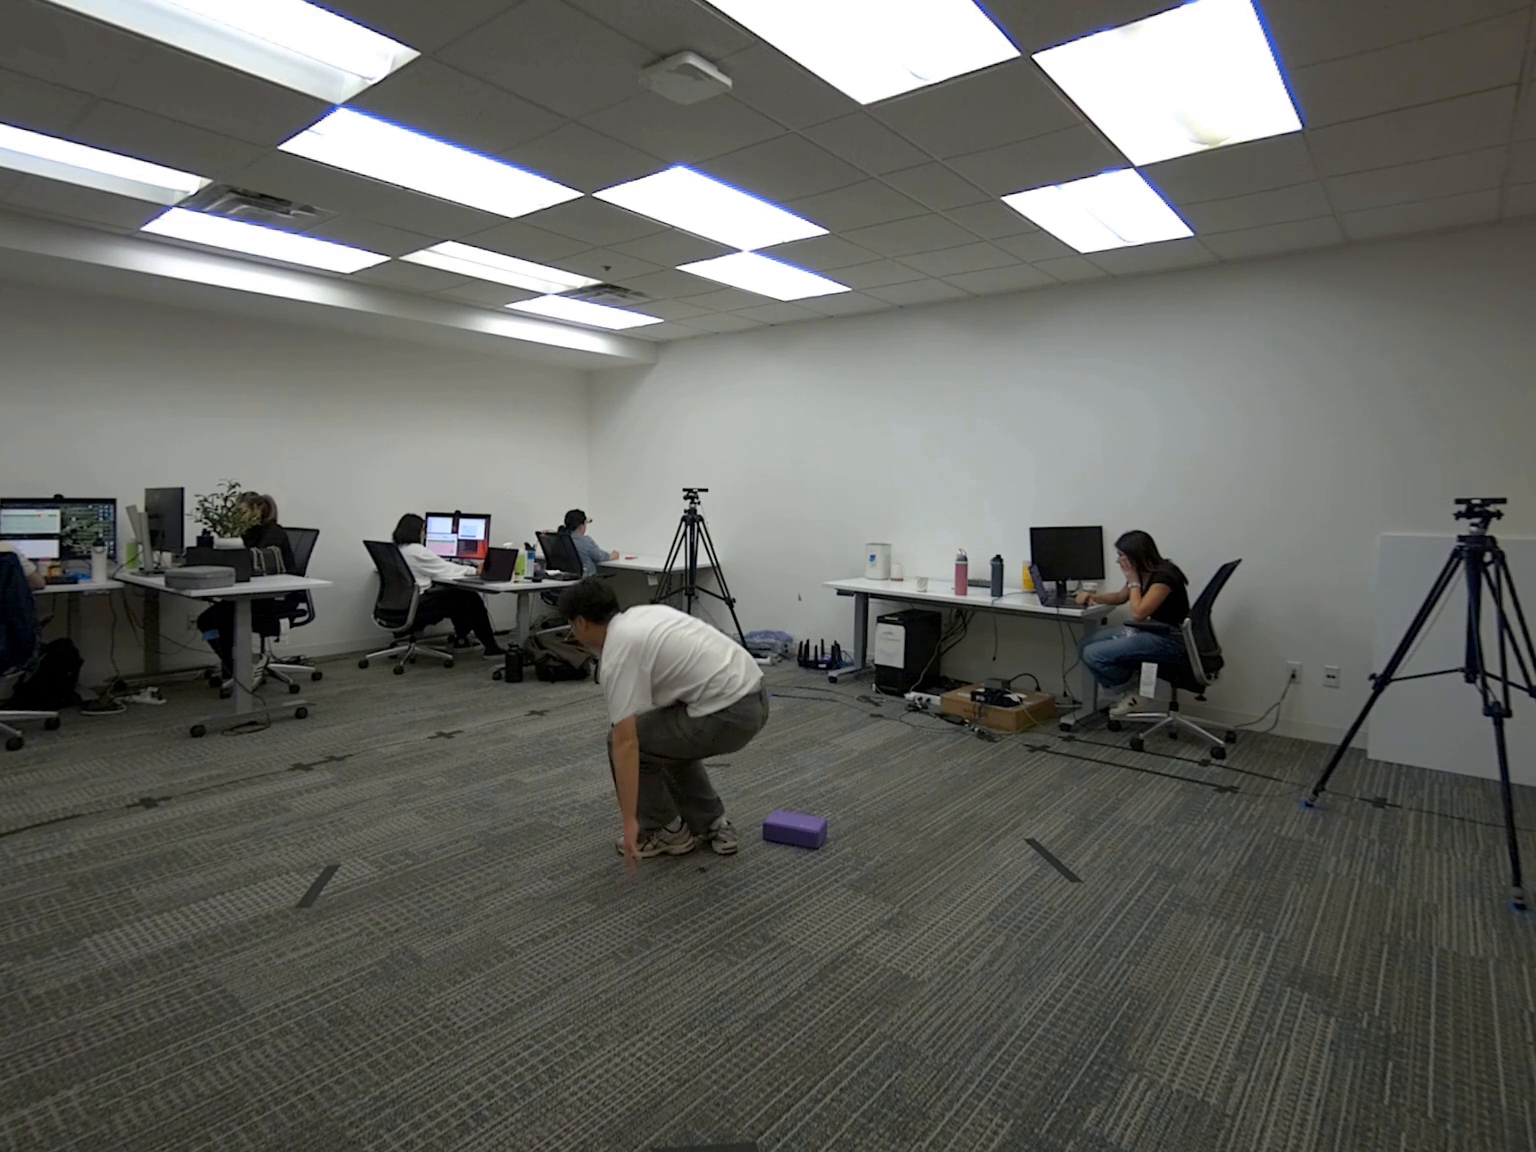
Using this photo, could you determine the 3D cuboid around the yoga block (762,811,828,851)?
[{"bbox_3d":[0.110,1.007,3.400,0.234,0.076,0.146,3,7,21],"label":"yoga block"}]
